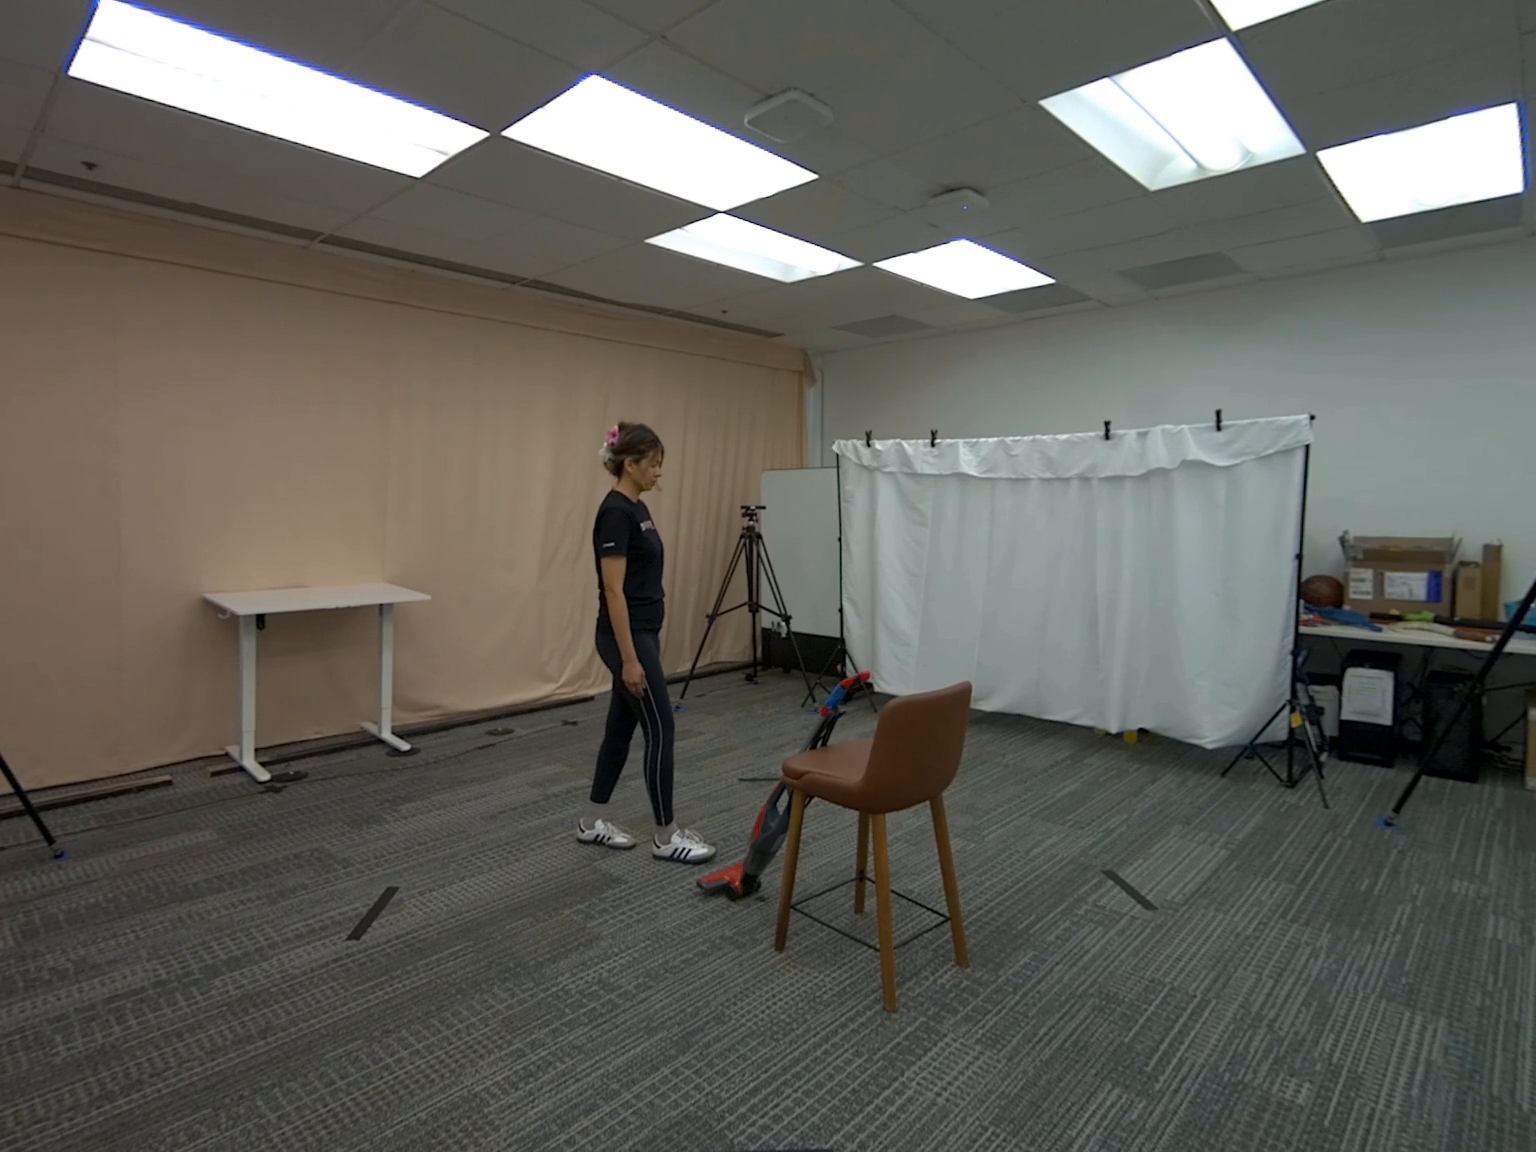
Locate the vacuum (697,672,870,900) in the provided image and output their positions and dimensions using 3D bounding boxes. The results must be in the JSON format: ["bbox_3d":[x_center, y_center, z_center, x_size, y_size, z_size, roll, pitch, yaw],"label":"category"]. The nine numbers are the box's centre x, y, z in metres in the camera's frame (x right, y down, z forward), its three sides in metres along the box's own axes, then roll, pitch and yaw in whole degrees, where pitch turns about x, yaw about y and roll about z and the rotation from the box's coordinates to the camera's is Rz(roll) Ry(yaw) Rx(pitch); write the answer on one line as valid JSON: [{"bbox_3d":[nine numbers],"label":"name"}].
[{"bbox_3d":[0.086,0.713,2.817,0.245,1.047,0.148,-7,43,-48],"label":"vacuum"}]
